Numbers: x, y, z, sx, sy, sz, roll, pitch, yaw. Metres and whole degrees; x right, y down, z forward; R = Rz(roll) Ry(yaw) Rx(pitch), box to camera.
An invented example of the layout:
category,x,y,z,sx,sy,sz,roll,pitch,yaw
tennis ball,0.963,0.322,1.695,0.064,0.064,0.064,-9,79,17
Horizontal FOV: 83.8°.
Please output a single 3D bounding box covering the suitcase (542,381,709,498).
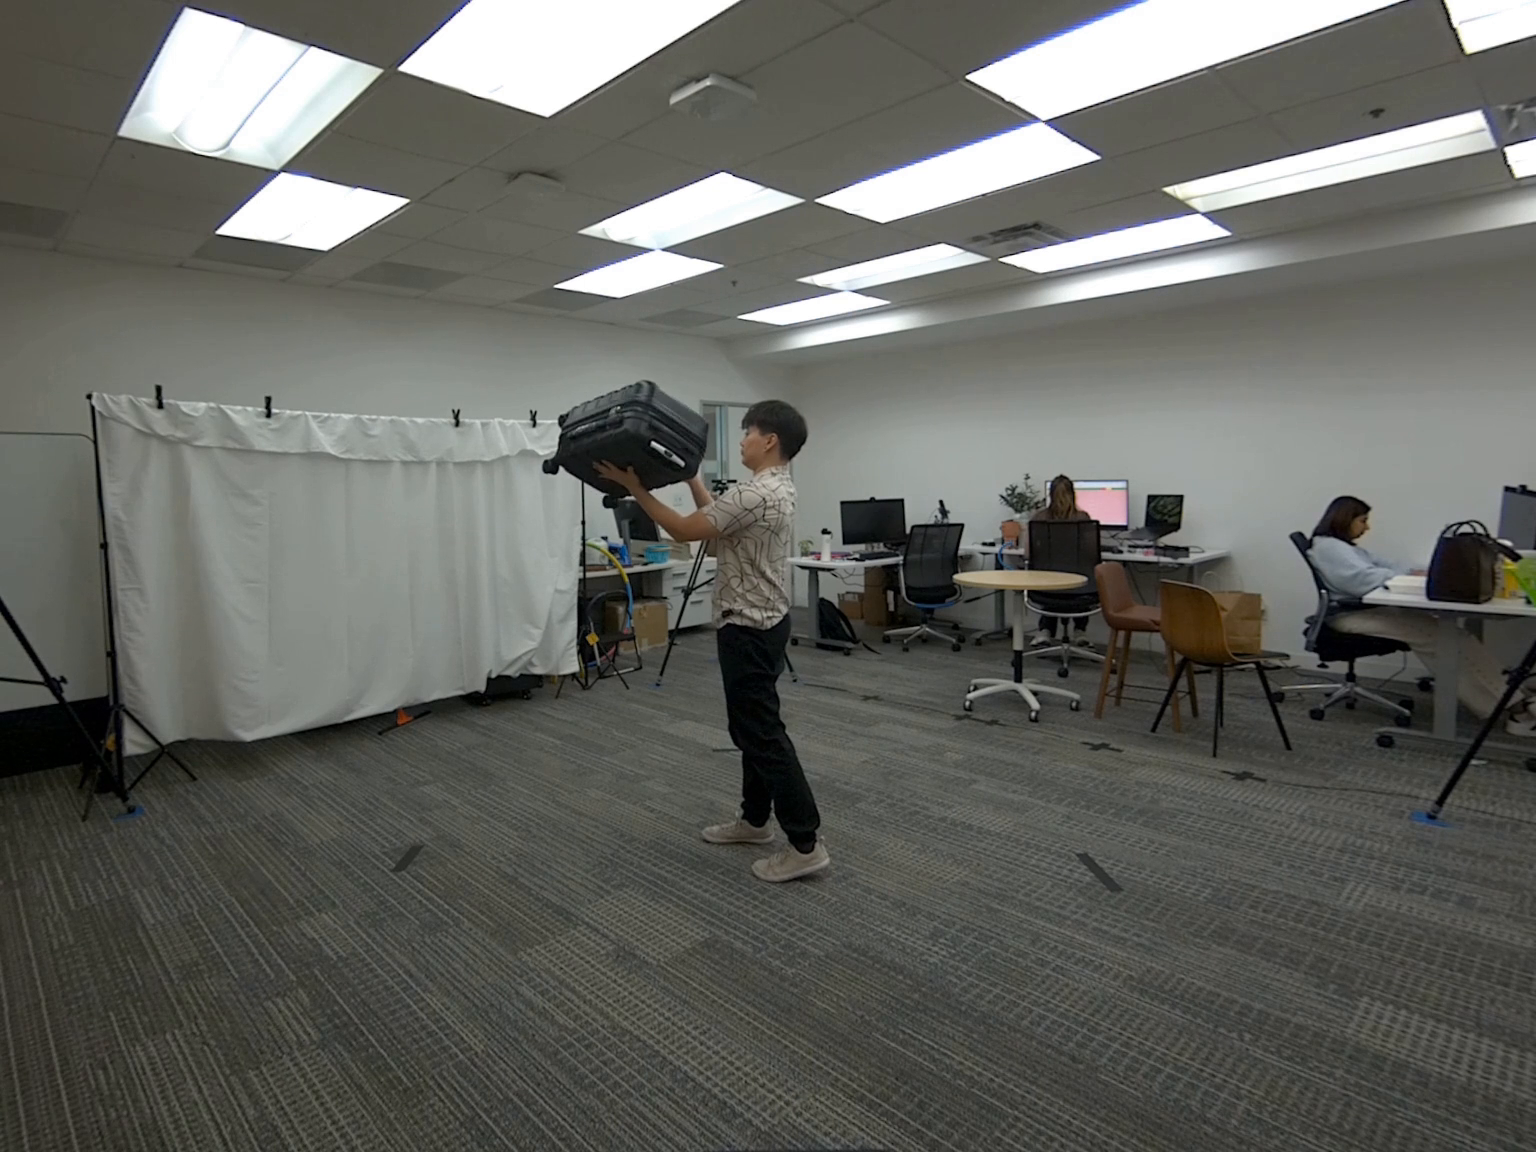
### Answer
category,x,y,z,sx,sy,sz,roll,pitch,yaw
suitcase,-0.508,-0.479,3.097,0.562,0.252,0.361,-10,-31,44
